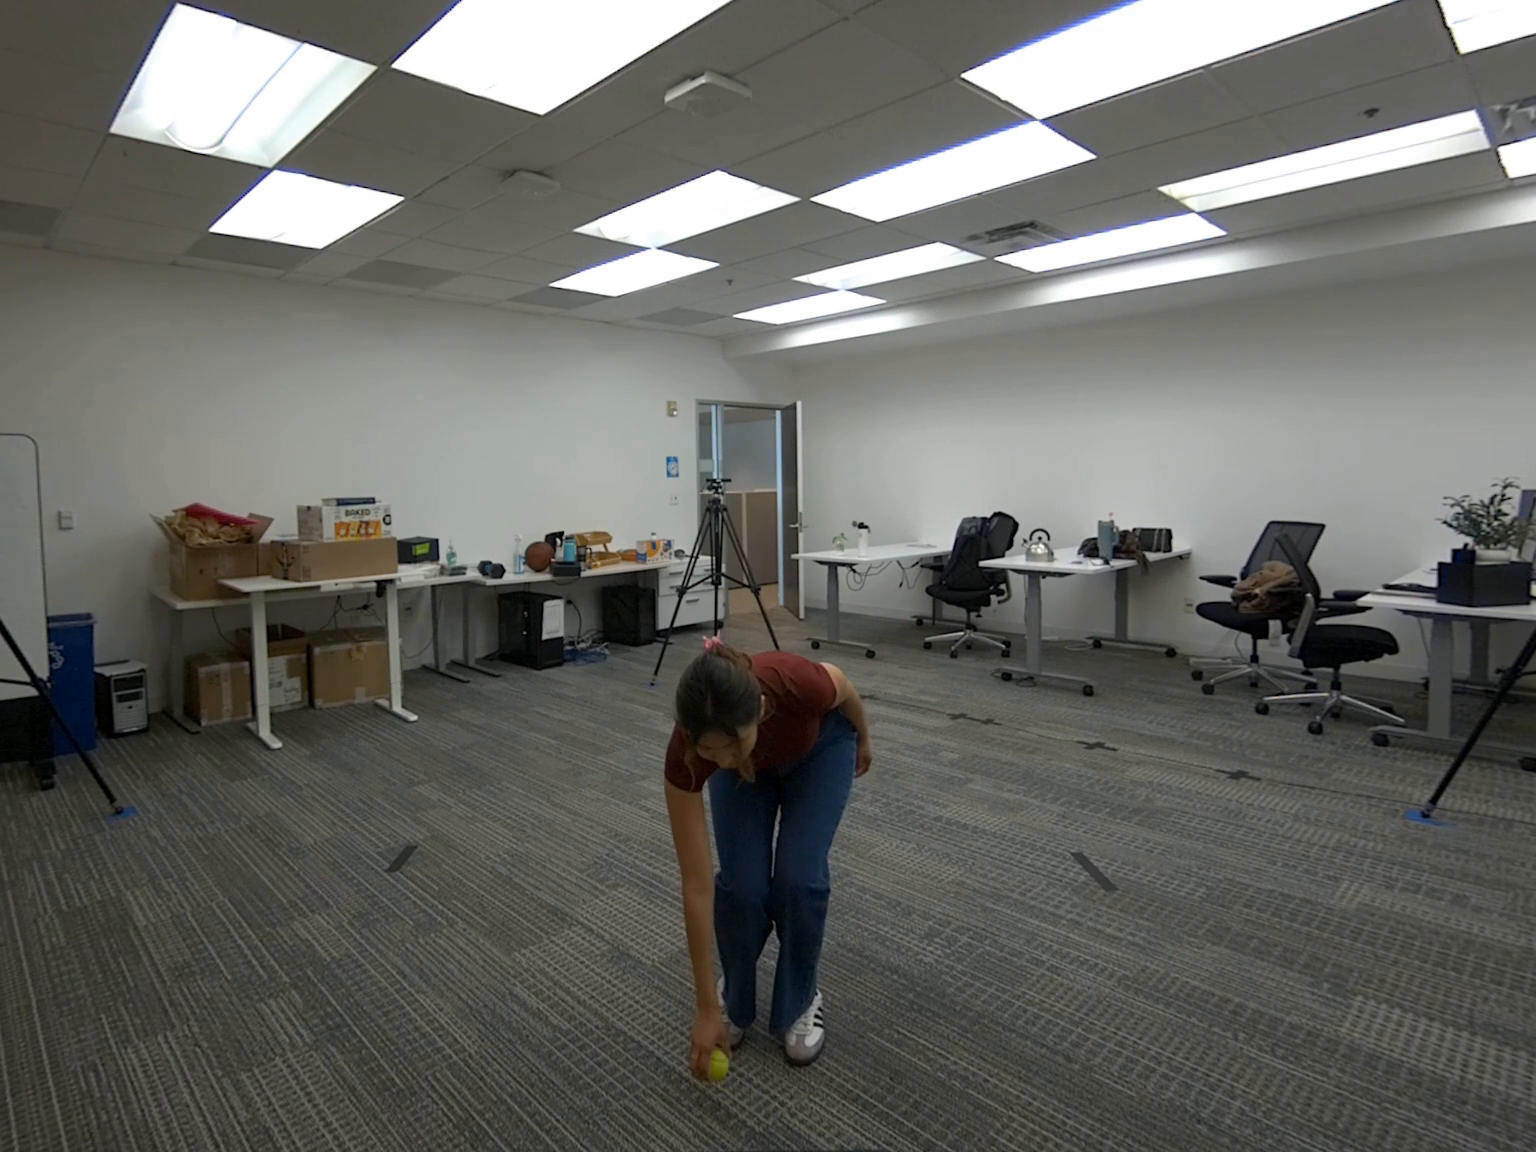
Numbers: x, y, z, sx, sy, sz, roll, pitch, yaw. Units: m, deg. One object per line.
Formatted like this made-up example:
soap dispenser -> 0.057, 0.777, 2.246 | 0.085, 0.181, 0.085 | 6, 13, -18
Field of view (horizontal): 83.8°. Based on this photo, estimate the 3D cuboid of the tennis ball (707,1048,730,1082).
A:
tennis ball -> -0.130, 1.090, 1.935 | 0.066, 0.066, 0.067 | -1, 5, -2
